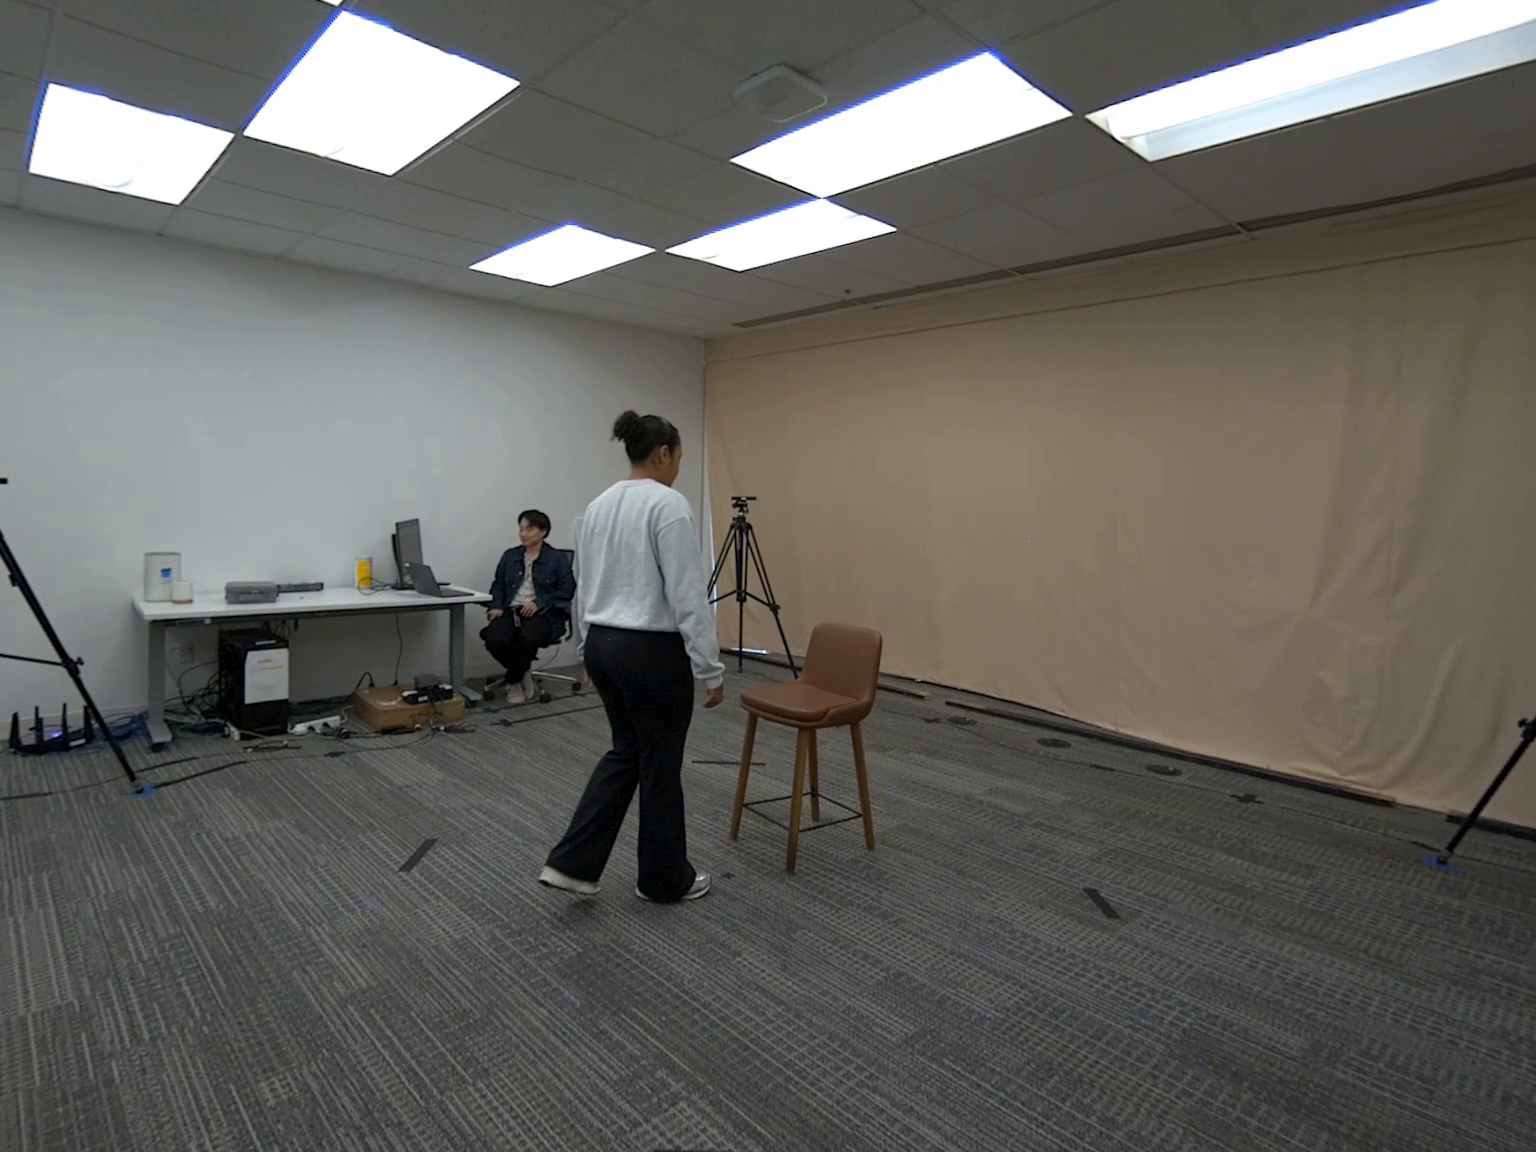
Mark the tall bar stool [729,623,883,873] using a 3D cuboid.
[{"bbox_3d":[0.152,0.653,3.393,0.457,0.889,0.467,2,2,-35],"label":"tall bar stool"}]
